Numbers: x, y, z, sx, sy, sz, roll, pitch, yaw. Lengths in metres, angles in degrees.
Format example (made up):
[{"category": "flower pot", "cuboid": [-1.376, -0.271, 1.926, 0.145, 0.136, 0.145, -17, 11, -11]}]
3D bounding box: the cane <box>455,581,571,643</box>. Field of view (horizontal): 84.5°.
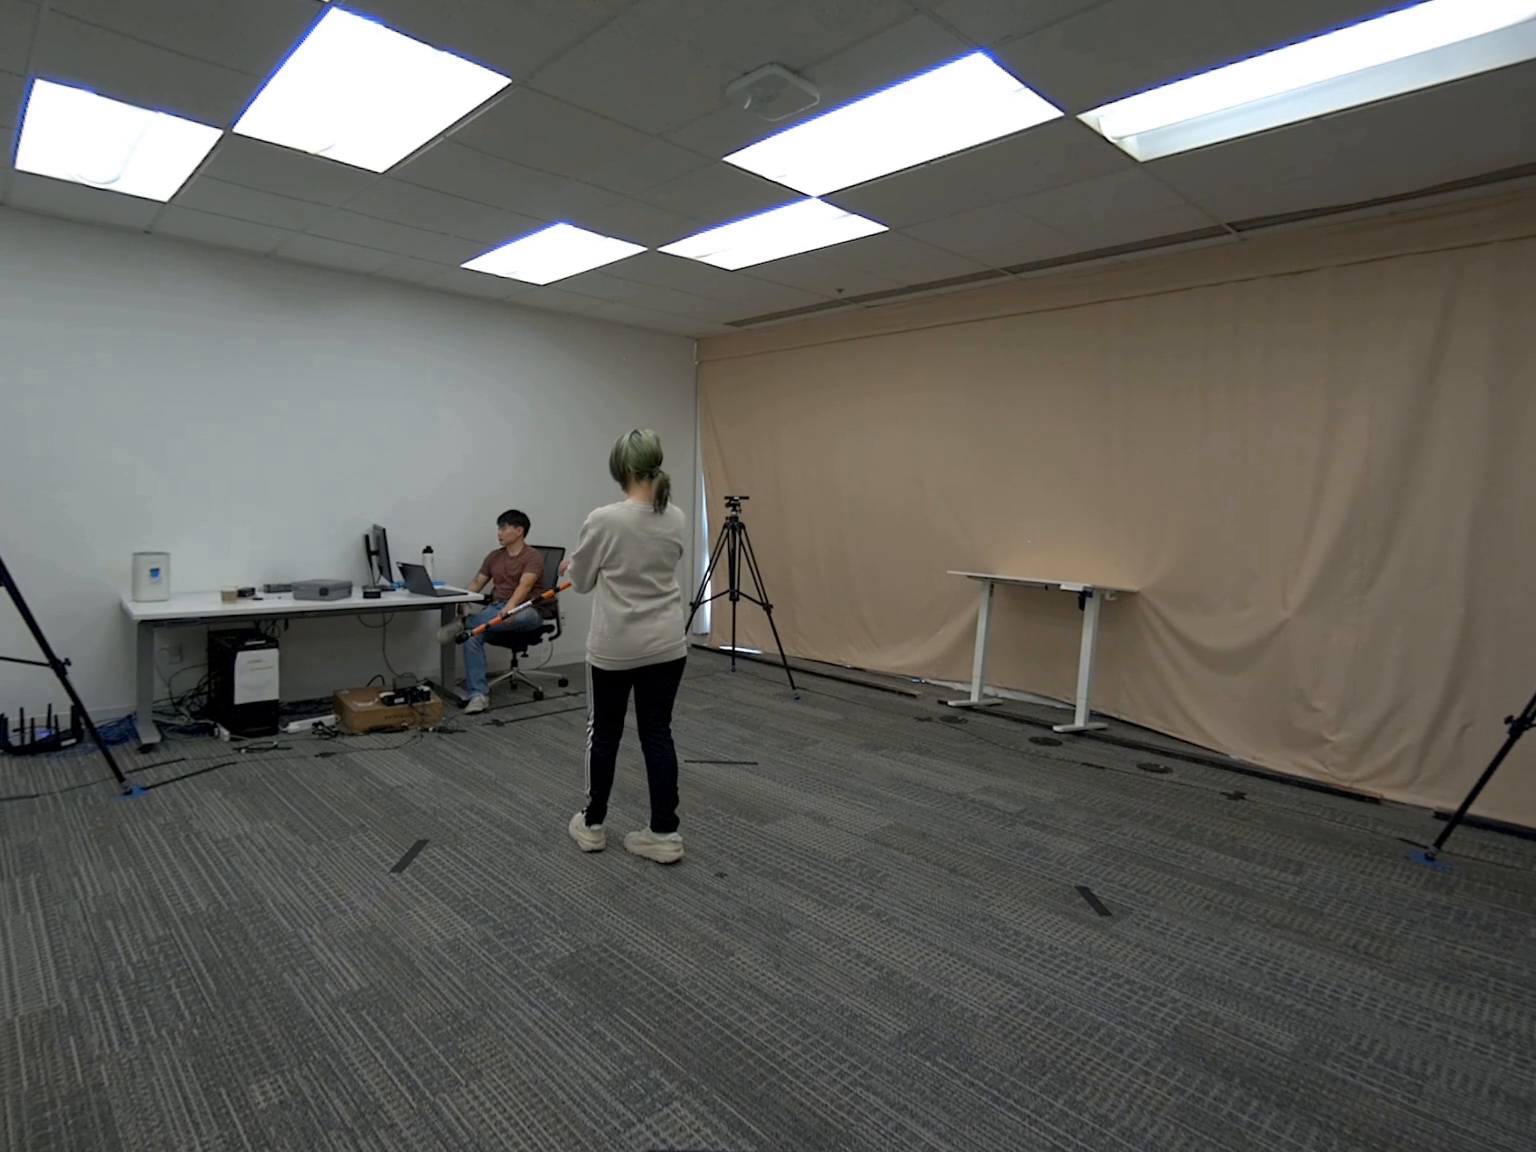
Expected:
[{"category": "cane", "cuboid": [-0.908, 0.051, 3.535, 0.900, 0.151, 0.209, -32, 4, -33]}]
